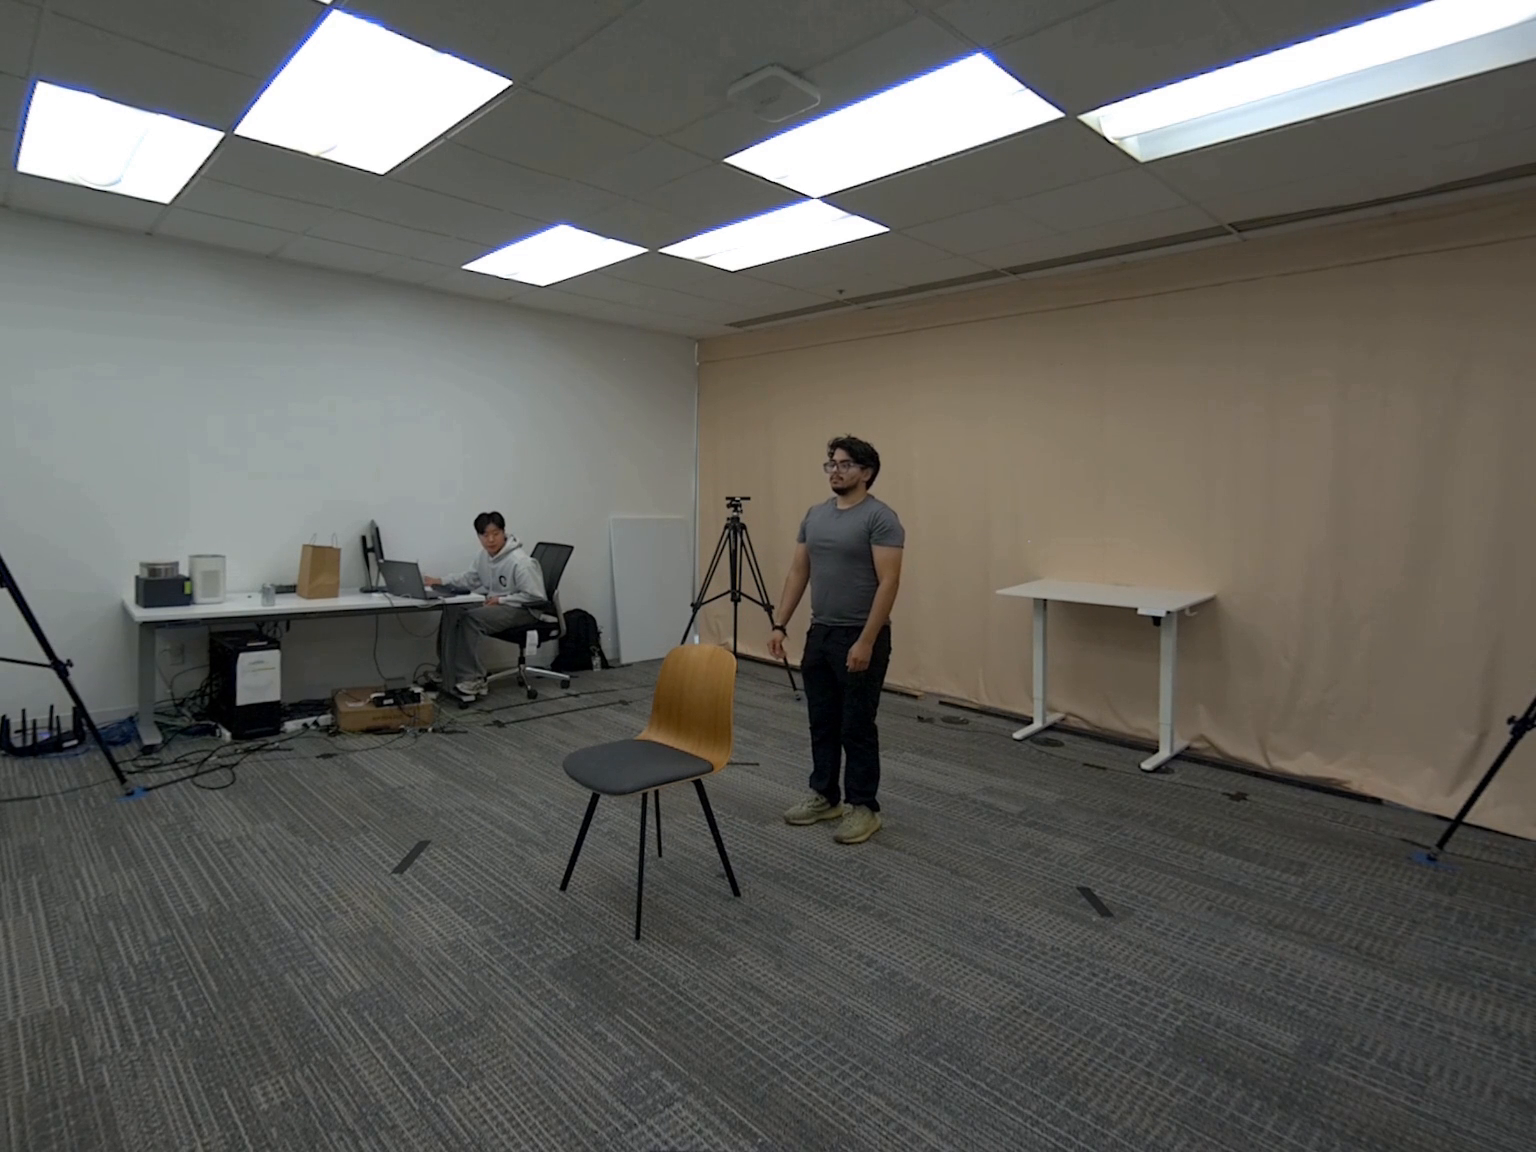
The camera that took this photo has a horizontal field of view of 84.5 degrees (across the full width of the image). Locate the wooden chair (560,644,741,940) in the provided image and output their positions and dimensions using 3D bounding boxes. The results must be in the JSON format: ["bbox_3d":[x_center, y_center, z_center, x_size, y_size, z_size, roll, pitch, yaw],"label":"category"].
[{"bbox_3d":[-0.414,0.692,2.915,0.510,0.877,0.490,4,1,-45],"label":"wooden chair"}]
